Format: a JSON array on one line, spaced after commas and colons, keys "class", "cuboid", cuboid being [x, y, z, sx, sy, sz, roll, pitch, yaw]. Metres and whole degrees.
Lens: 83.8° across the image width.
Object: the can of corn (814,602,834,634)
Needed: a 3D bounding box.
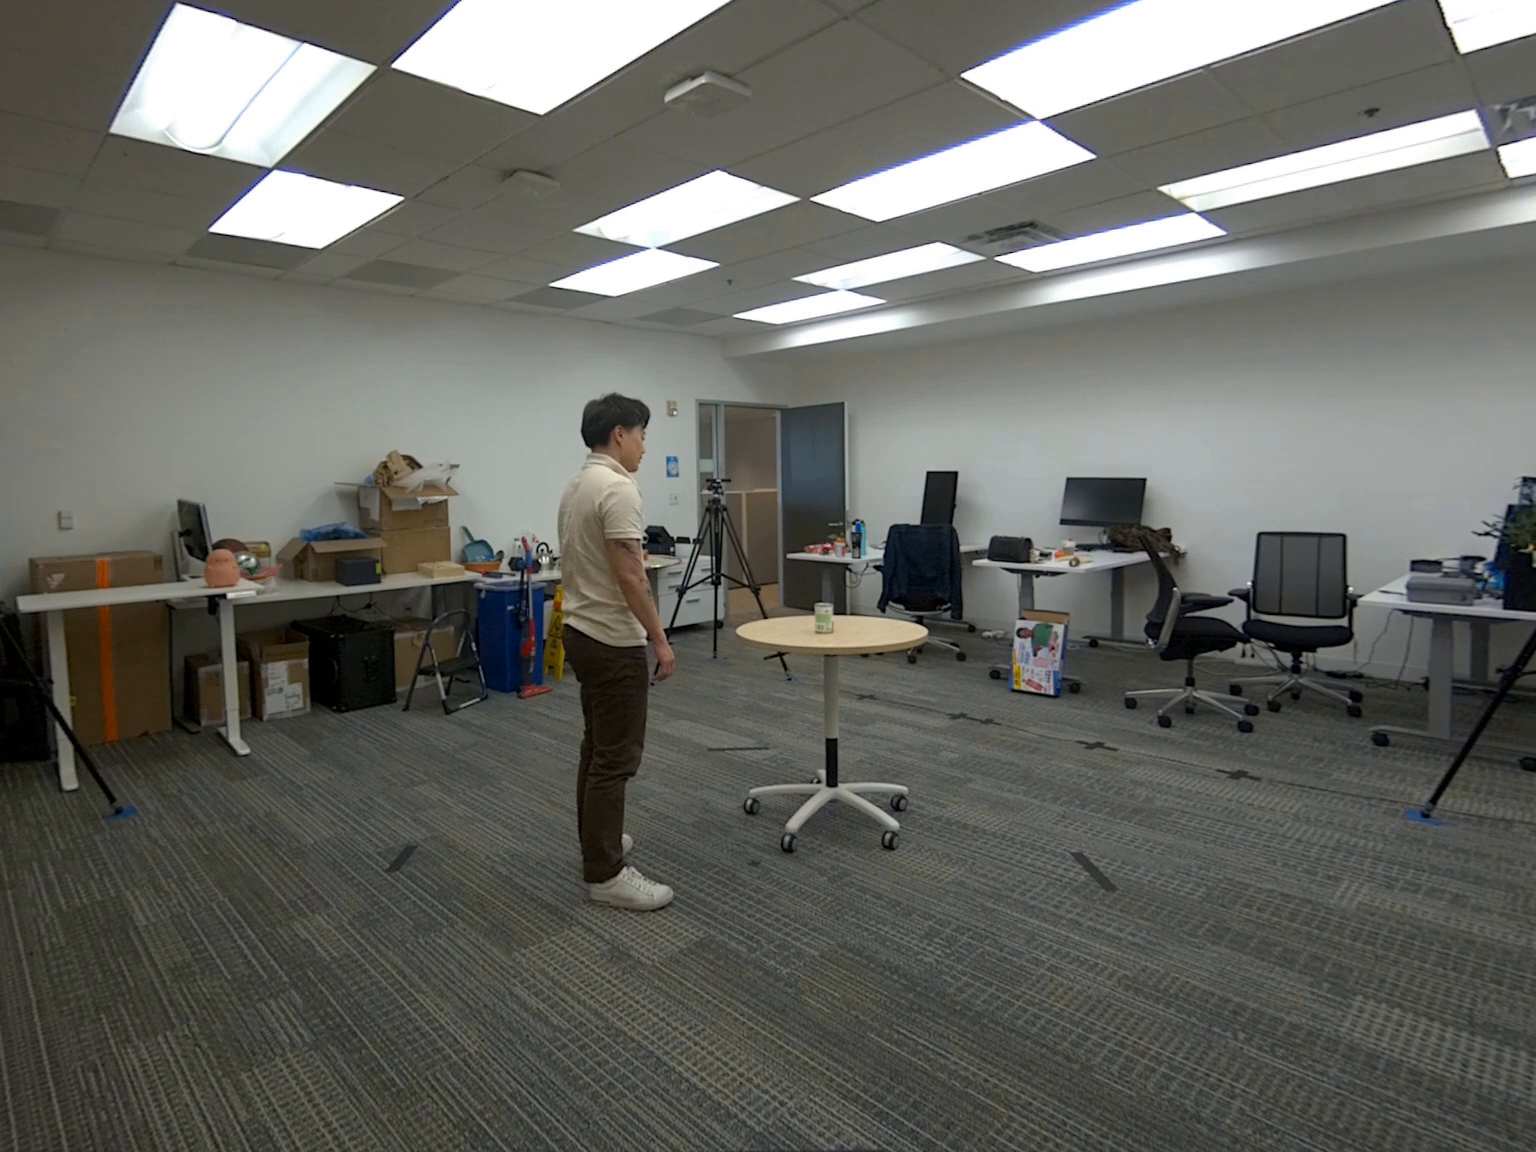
[{"class": "can of corn", "cuboid": [0.227, 0.168, 3.385, 0.074, 0.111, 0.074, 0, 4, -2]}]
